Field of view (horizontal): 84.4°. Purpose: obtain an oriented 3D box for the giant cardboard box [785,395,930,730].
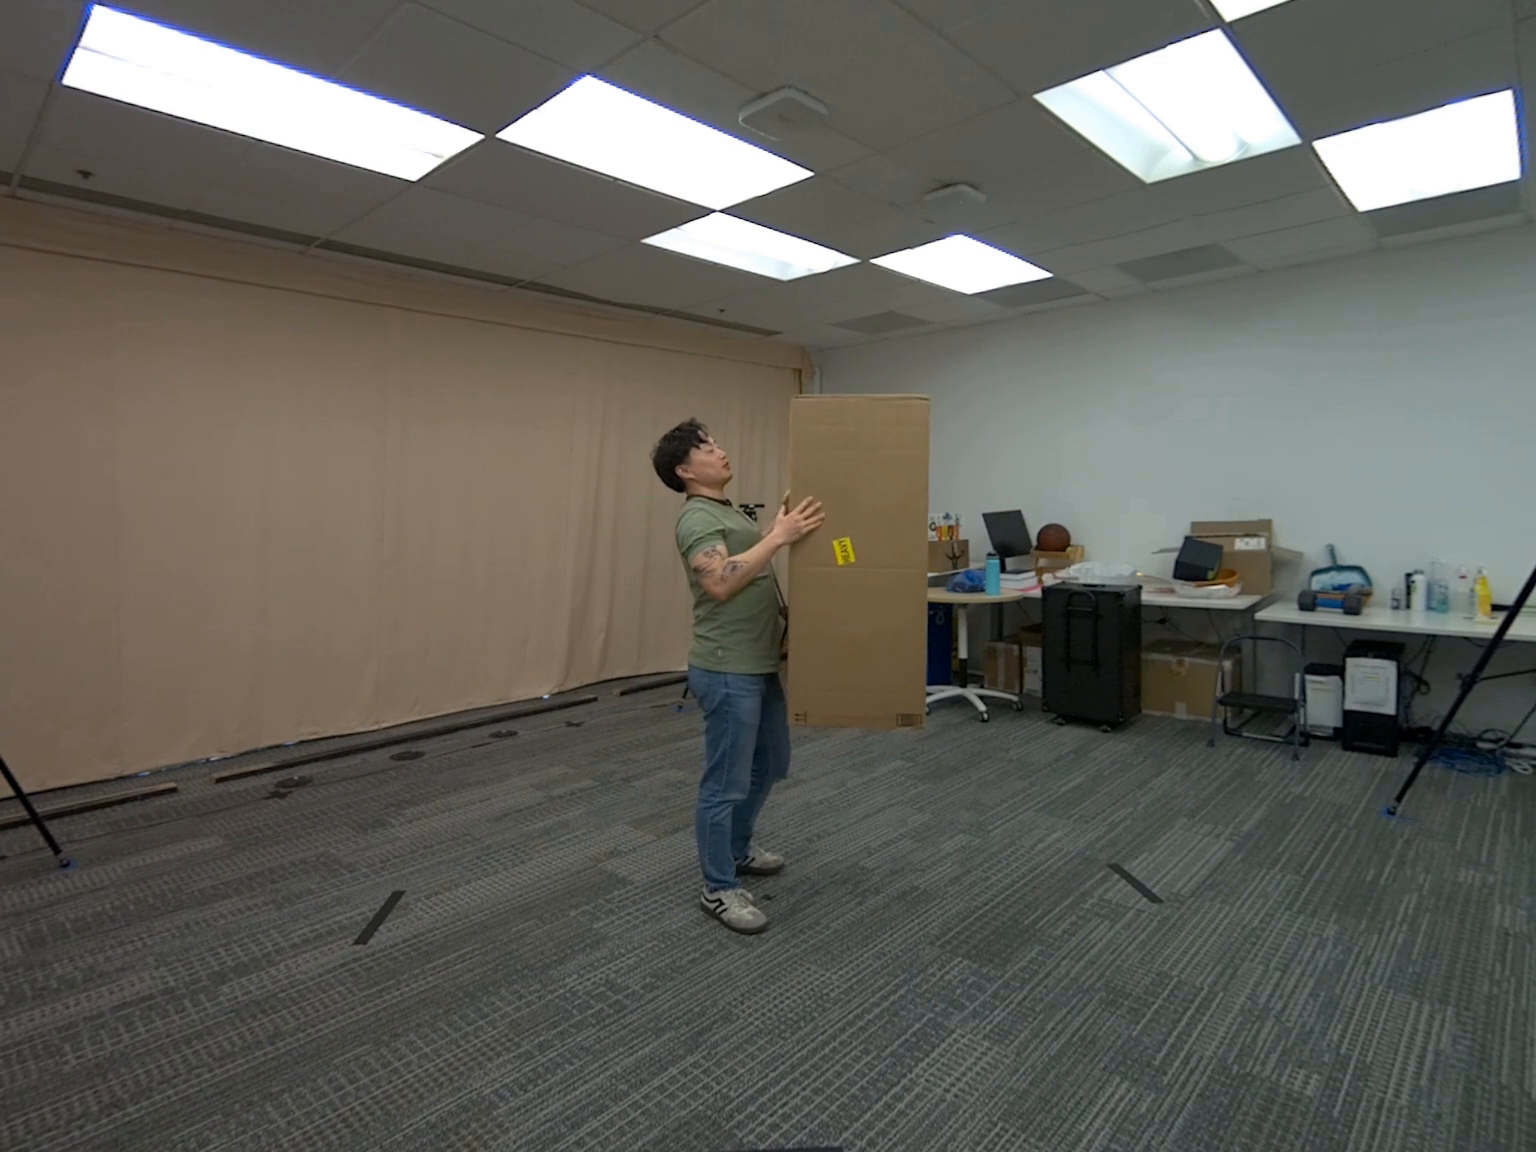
[{"bbox_3d":[0.291,-0.050,2.869,0.428,1.025,0.575,1,1,3],"label":"giant cardboard box"}]
